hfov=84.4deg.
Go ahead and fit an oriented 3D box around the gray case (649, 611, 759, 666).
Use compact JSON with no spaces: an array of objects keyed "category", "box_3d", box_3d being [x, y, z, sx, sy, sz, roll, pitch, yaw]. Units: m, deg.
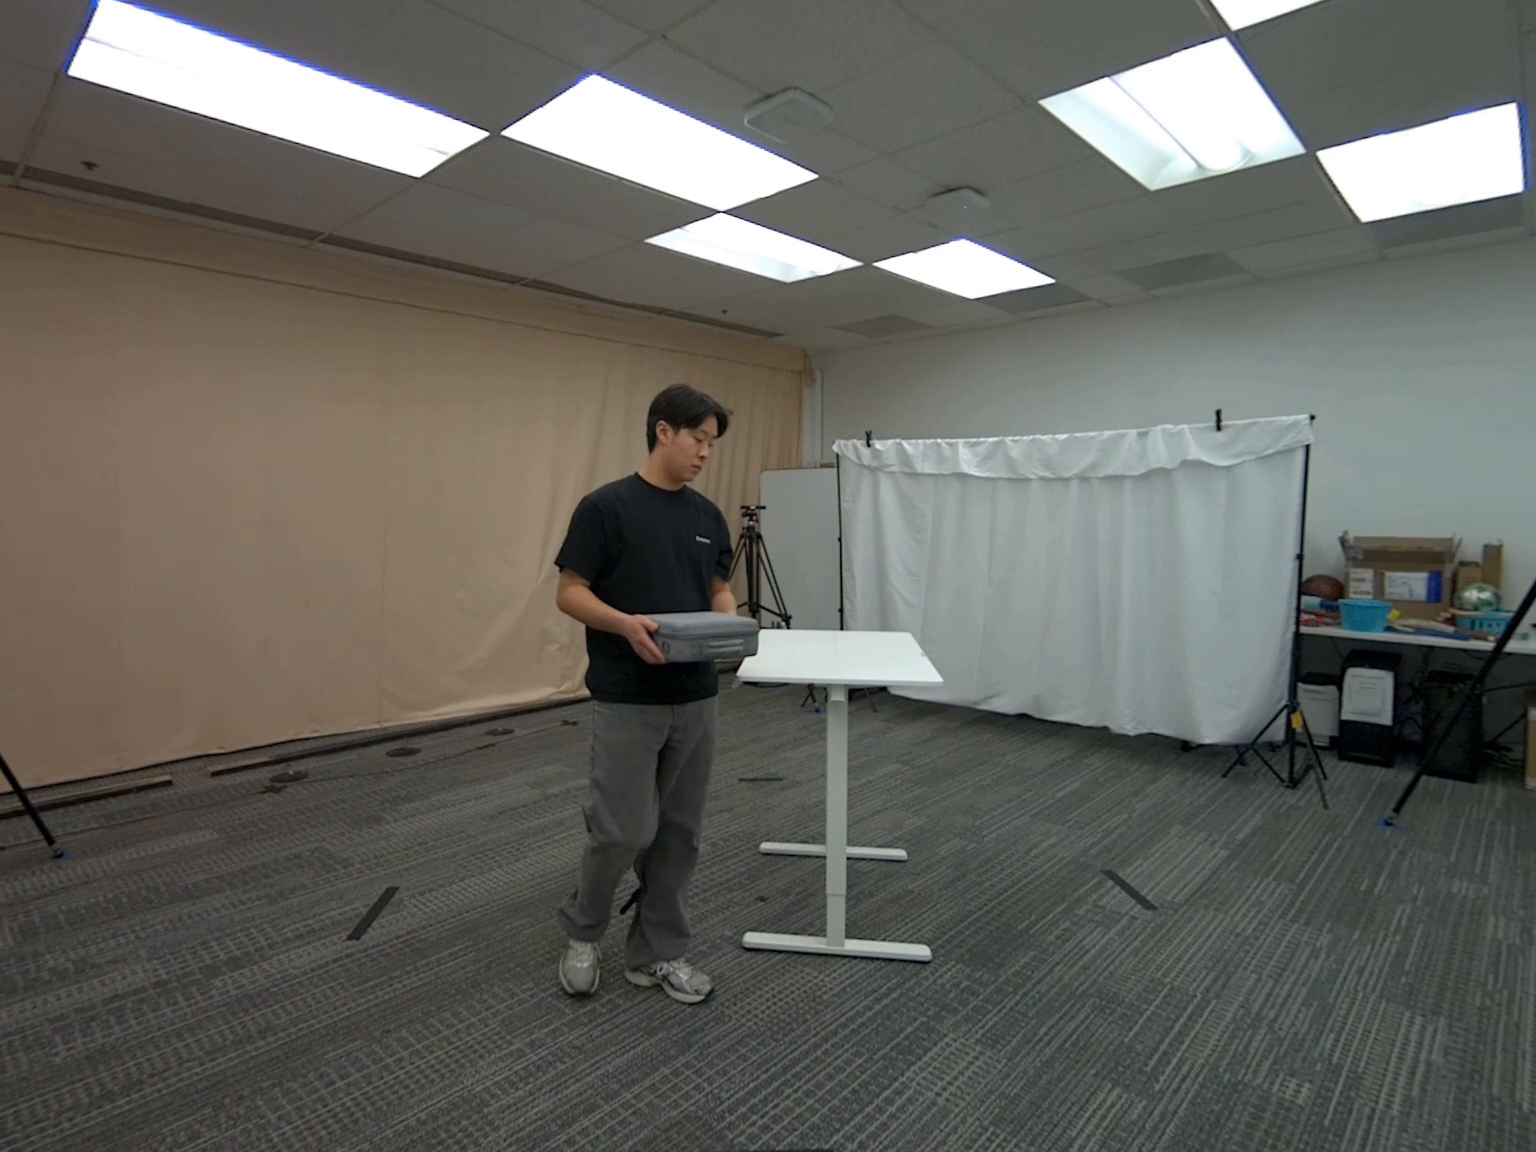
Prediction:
[{"category":"gray case","box_3d":[-0.192,0.162,2.180,0.256,0.103,0.296,0,3,-32]}]
